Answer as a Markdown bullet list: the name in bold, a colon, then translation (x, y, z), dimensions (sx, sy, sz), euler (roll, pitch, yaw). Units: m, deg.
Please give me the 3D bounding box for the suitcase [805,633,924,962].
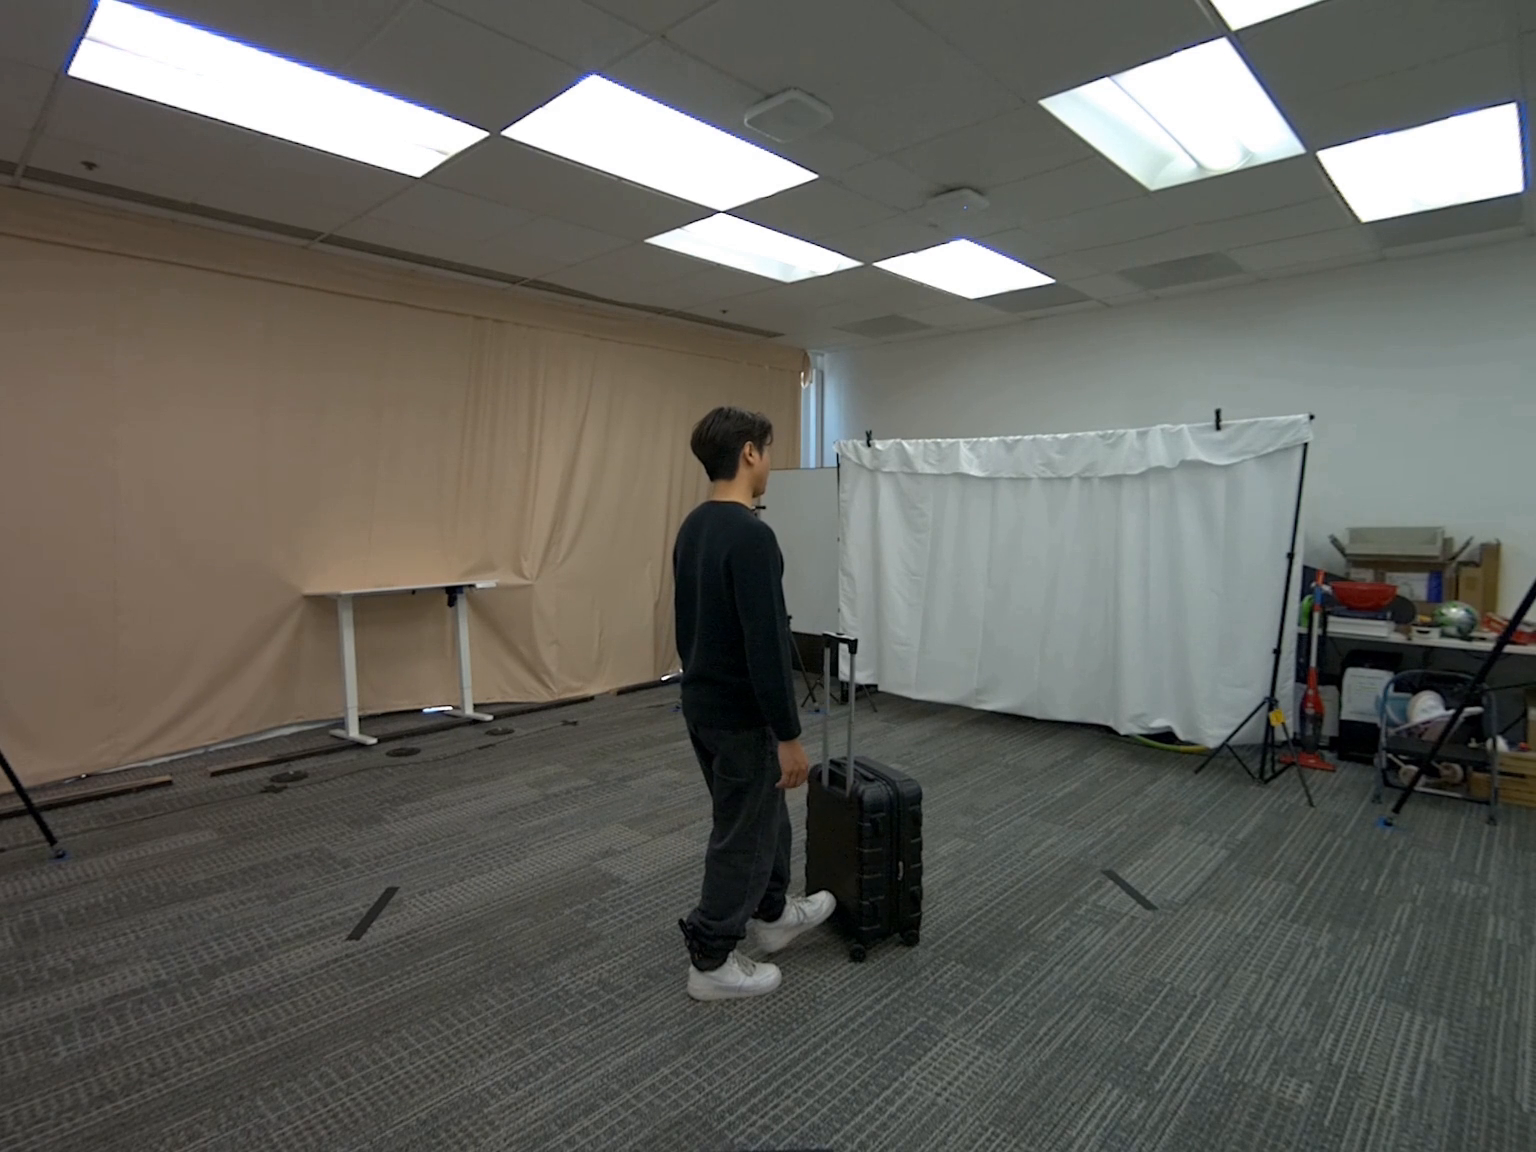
- **suitcase**: translation (0.325, 0.686, 2.743), dimensions (0.251, 0.977, 0.394), euler (2, 3, -26)
